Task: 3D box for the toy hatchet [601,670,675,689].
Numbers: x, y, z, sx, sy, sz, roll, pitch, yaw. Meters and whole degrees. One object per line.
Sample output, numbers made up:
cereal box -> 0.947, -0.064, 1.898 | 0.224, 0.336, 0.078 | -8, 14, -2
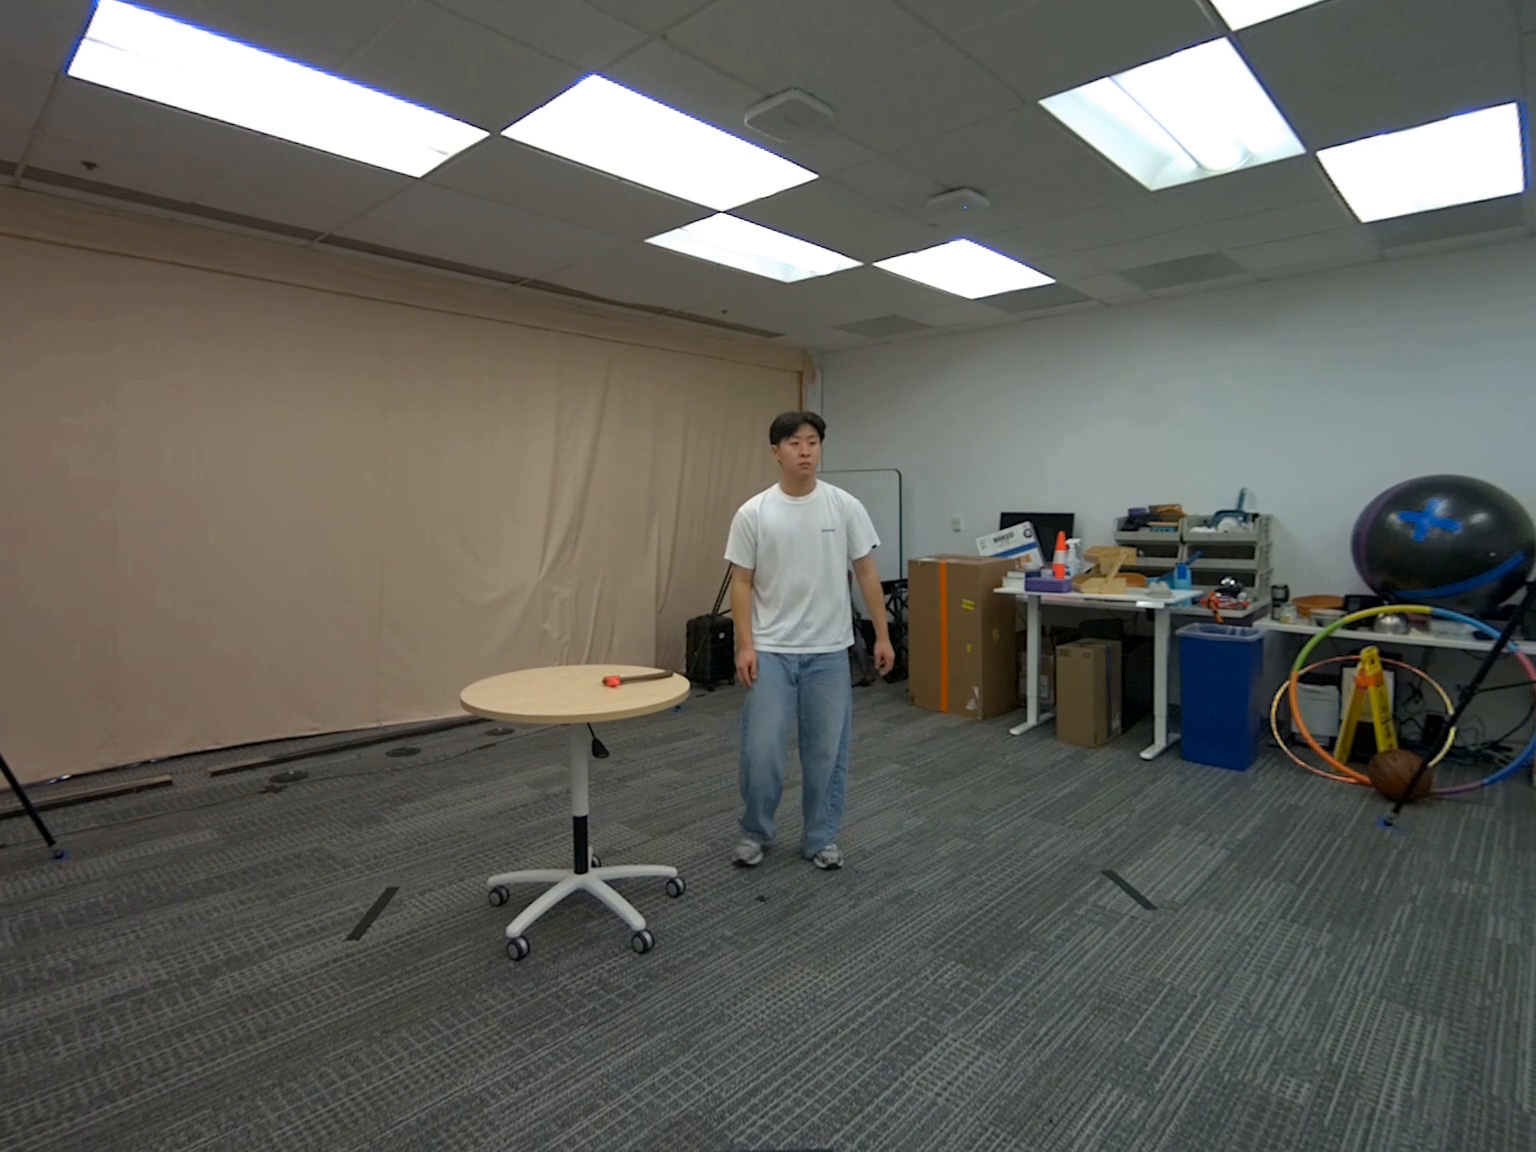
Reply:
toy hatchet -> -0.470, 0.354, 2.951 | 0.135, 0.029, 0.262 | -1, 1, 43
